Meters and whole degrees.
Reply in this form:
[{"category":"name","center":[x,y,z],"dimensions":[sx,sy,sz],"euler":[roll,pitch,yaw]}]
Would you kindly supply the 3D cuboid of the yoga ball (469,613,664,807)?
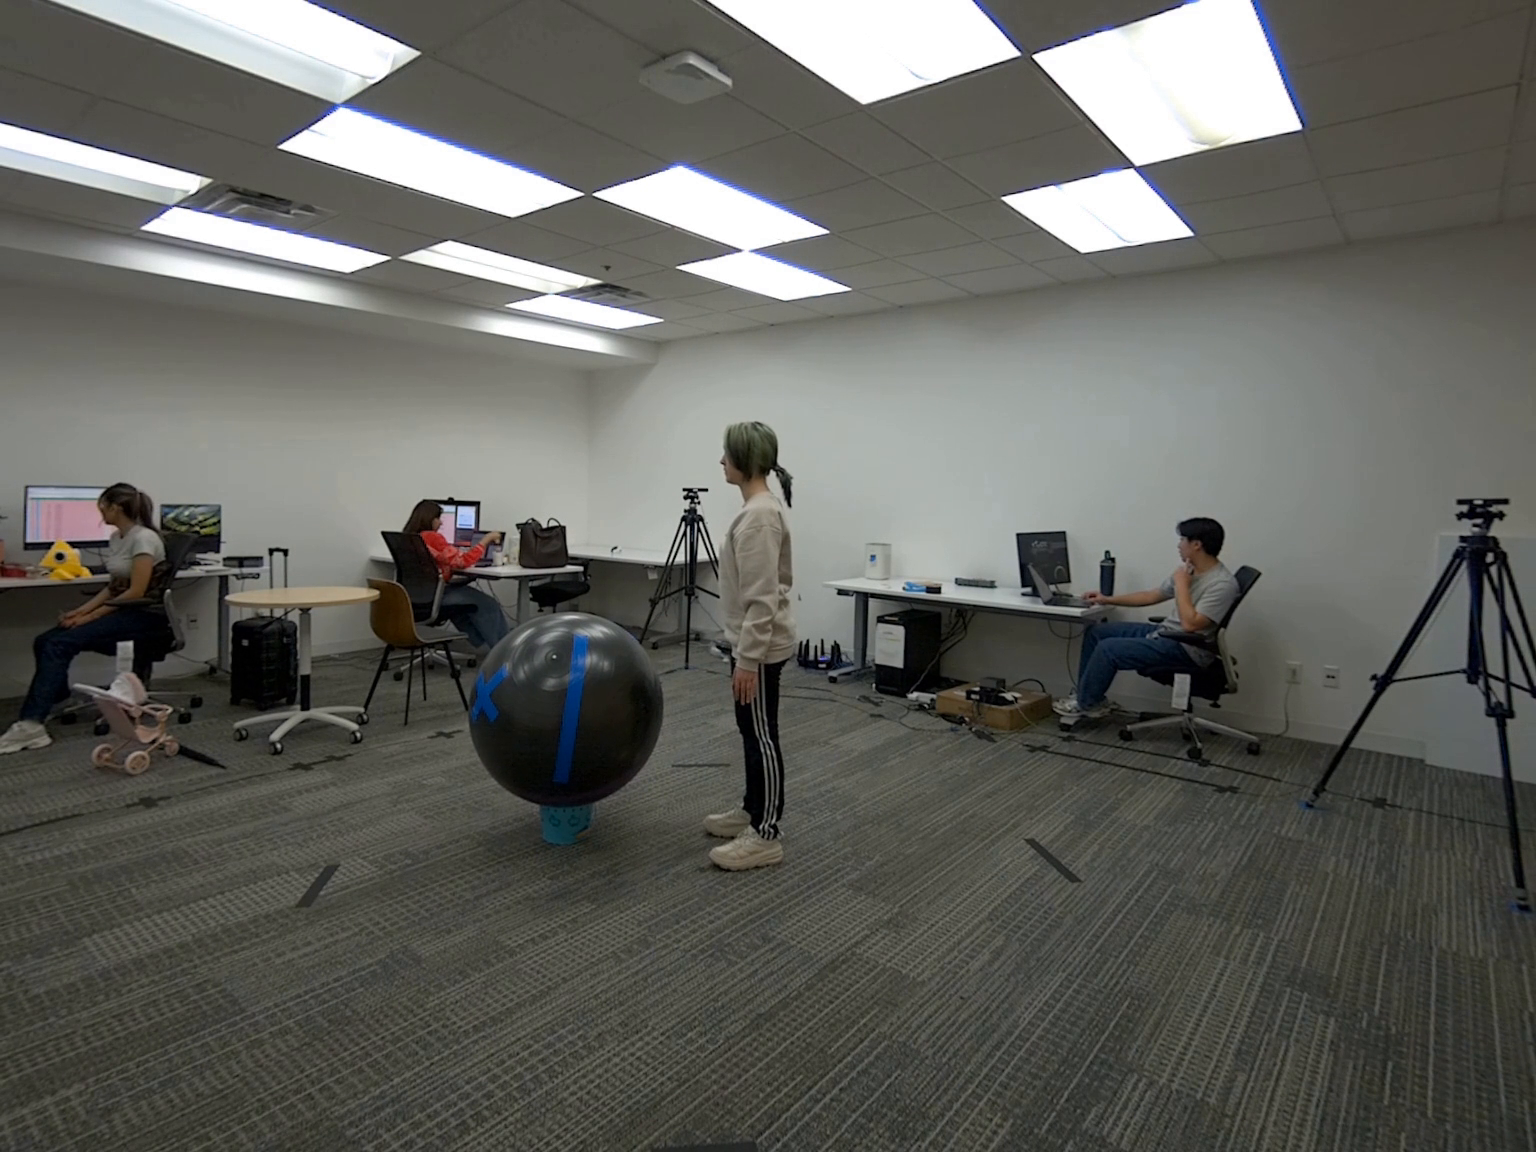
[{"category":"yoga ball","center":[-0.814,0.524,3.377],"dimensions":[0.757,0.755,0.762],"euler":[1,4,-2]}]
